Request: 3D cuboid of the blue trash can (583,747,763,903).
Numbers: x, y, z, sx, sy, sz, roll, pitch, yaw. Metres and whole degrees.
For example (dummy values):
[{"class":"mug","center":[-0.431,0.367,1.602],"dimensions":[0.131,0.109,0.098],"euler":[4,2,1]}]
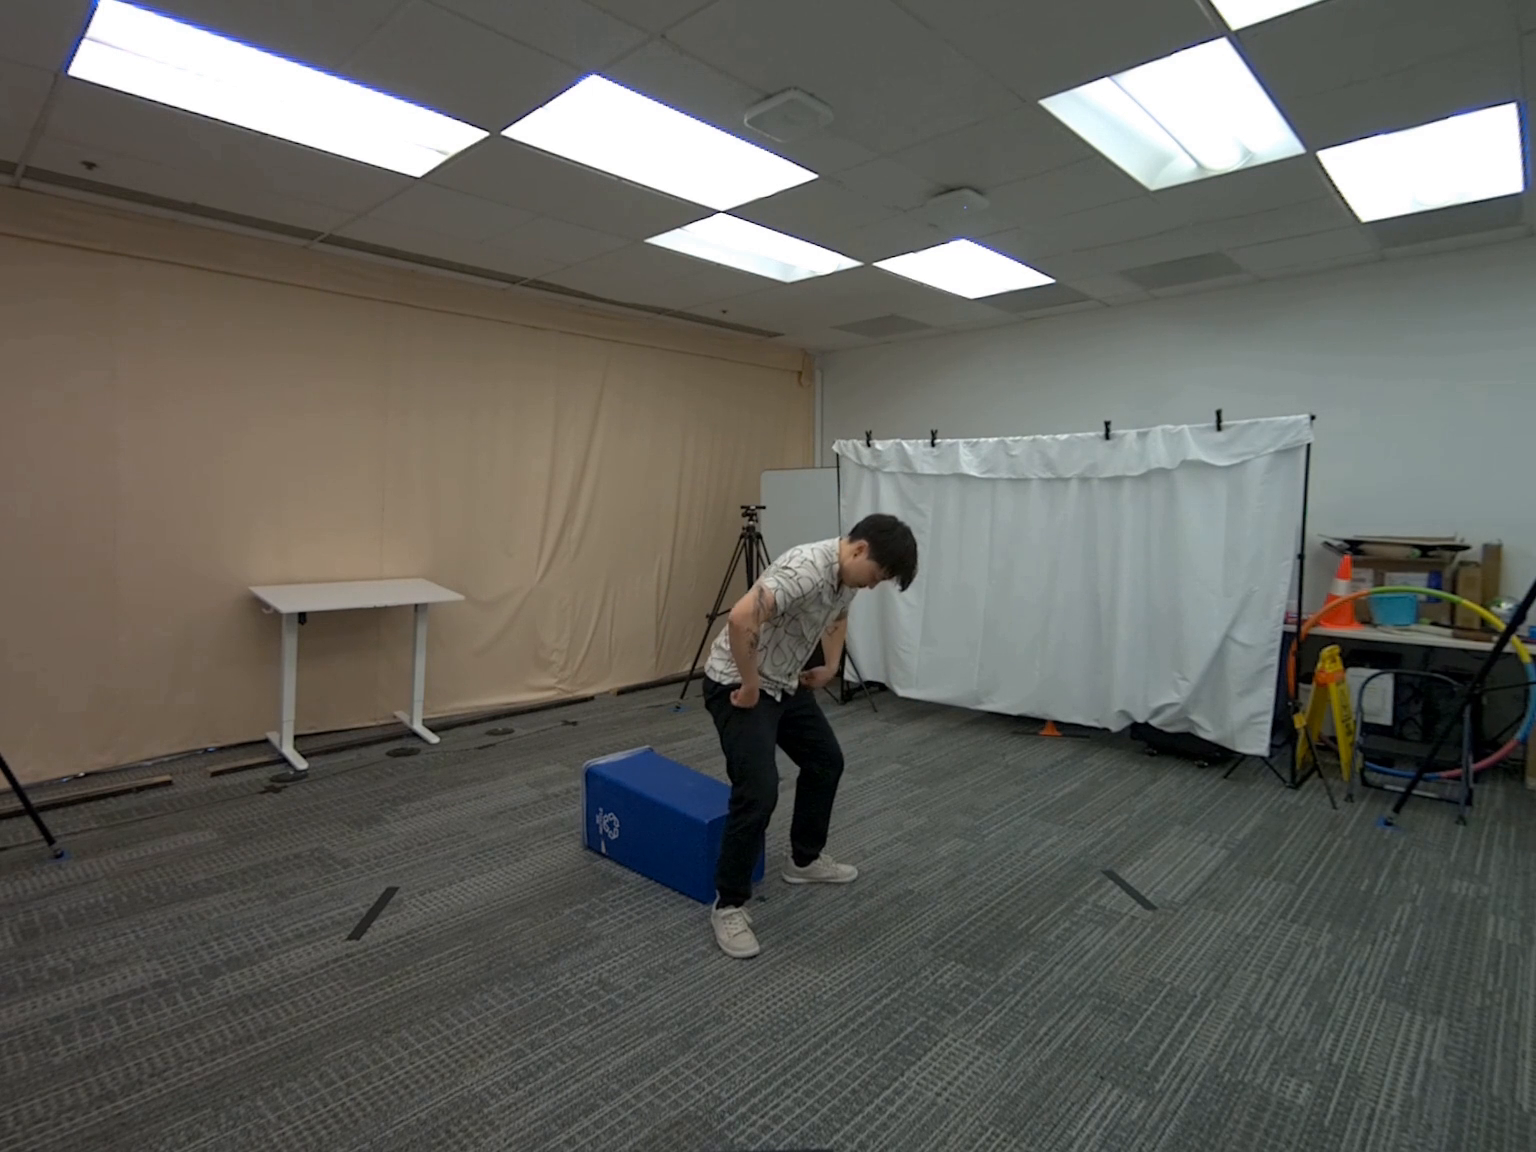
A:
[{"class":"blue trash can","center":[-0.370,0.951,3.266],"dimensions":[0.362,0.377,0.738],"euler":[-4,7,-44]}]
